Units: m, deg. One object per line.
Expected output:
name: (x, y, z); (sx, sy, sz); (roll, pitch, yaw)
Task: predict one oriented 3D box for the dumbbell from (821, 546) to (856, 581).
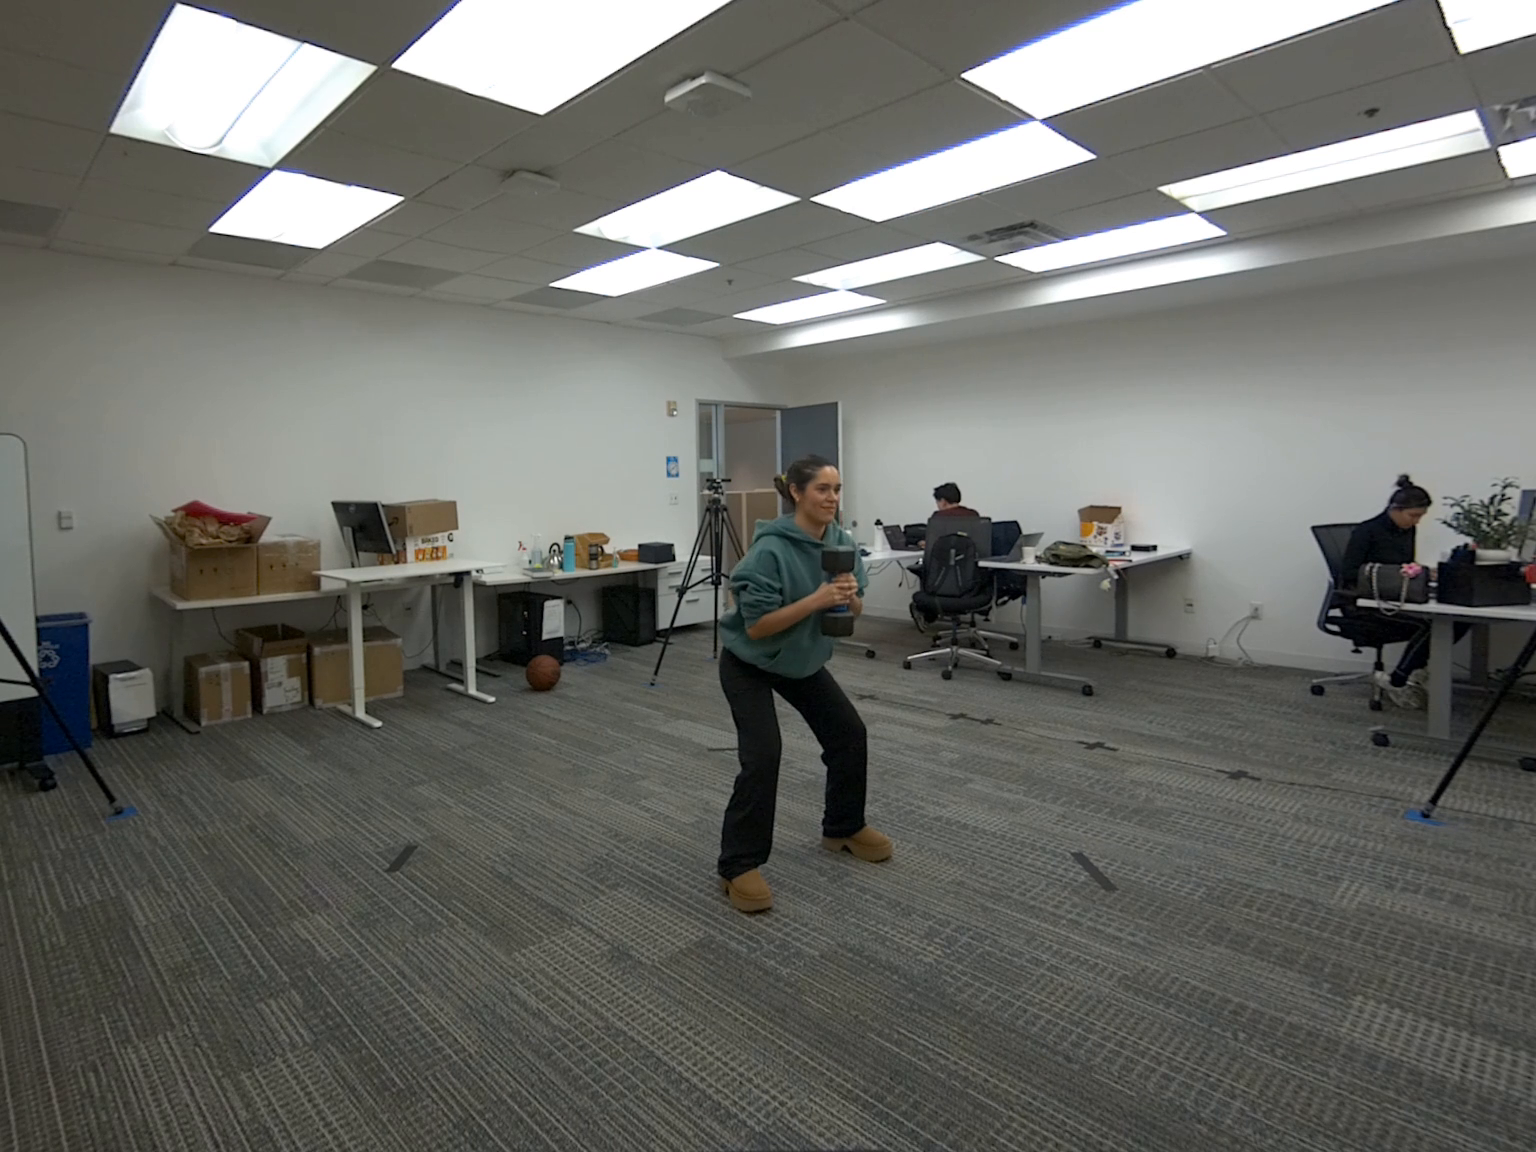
dumbbell: (0.211, 0.060, 2.814); (0.109, 0.293, 0.122); (-2, 2, 7)
